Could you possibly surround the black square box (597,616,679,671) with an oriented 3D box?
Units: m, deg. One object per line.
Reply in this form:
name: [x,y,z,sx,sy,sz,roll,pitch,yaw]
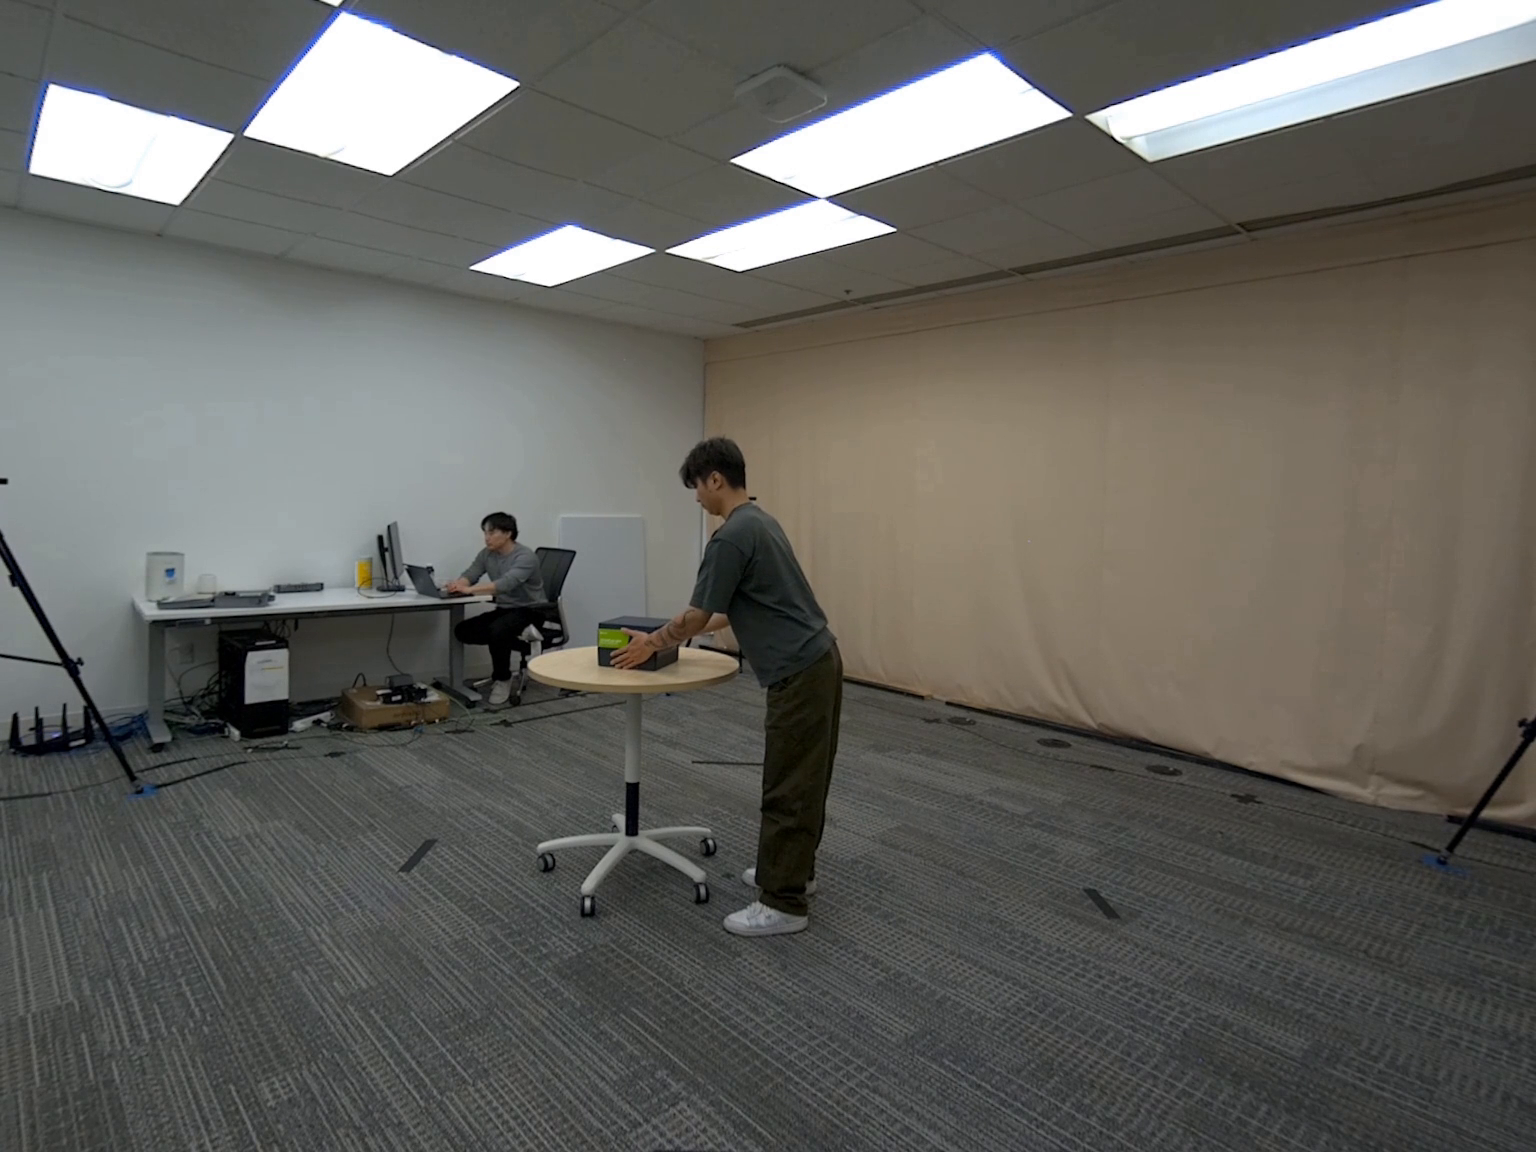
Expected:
black square box: [-0.473,0.239,3.066,0.231,0.155,0.214,3,4,17]
